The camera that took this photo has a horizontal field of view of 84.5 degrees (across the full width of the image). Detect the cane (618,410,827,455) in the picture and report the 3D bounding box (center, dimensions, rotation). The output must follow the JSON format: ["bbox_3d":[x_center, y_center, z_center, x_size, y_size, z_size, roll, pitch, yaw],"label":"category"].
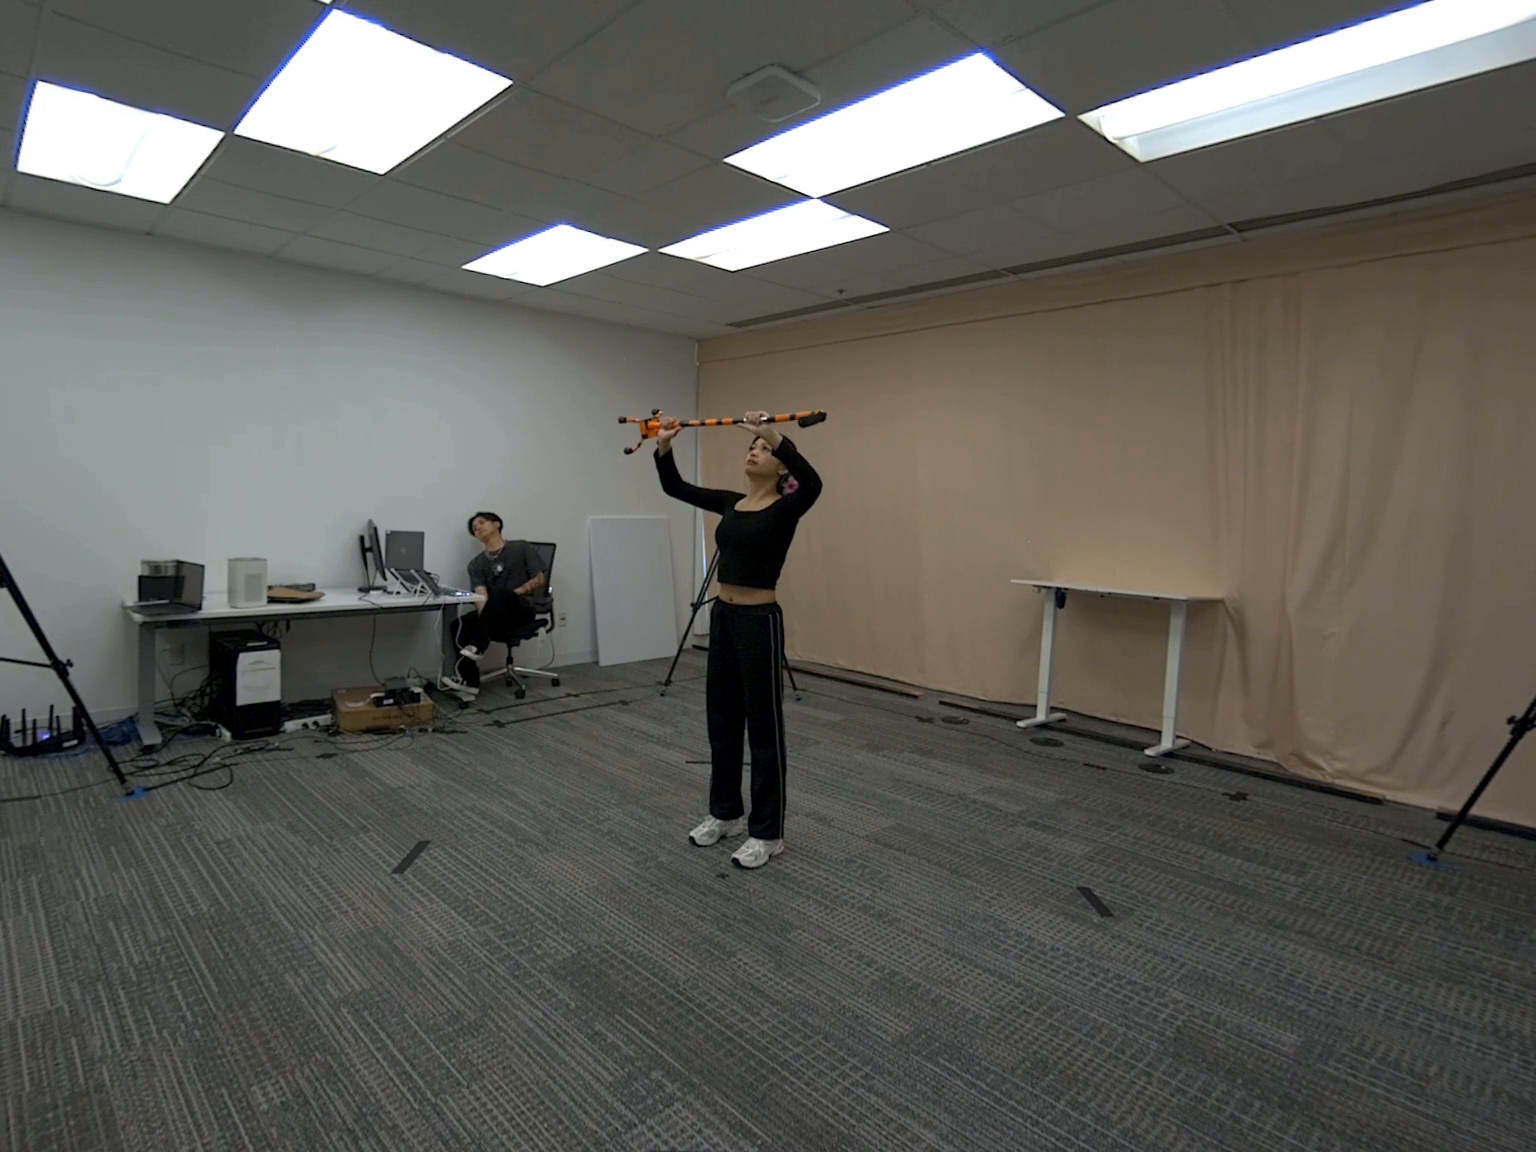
[{"bbox_3d":[-0.167,-0.539,3.027,0.931,0.150,0.204,6,21,43],"label":"cane"}]
